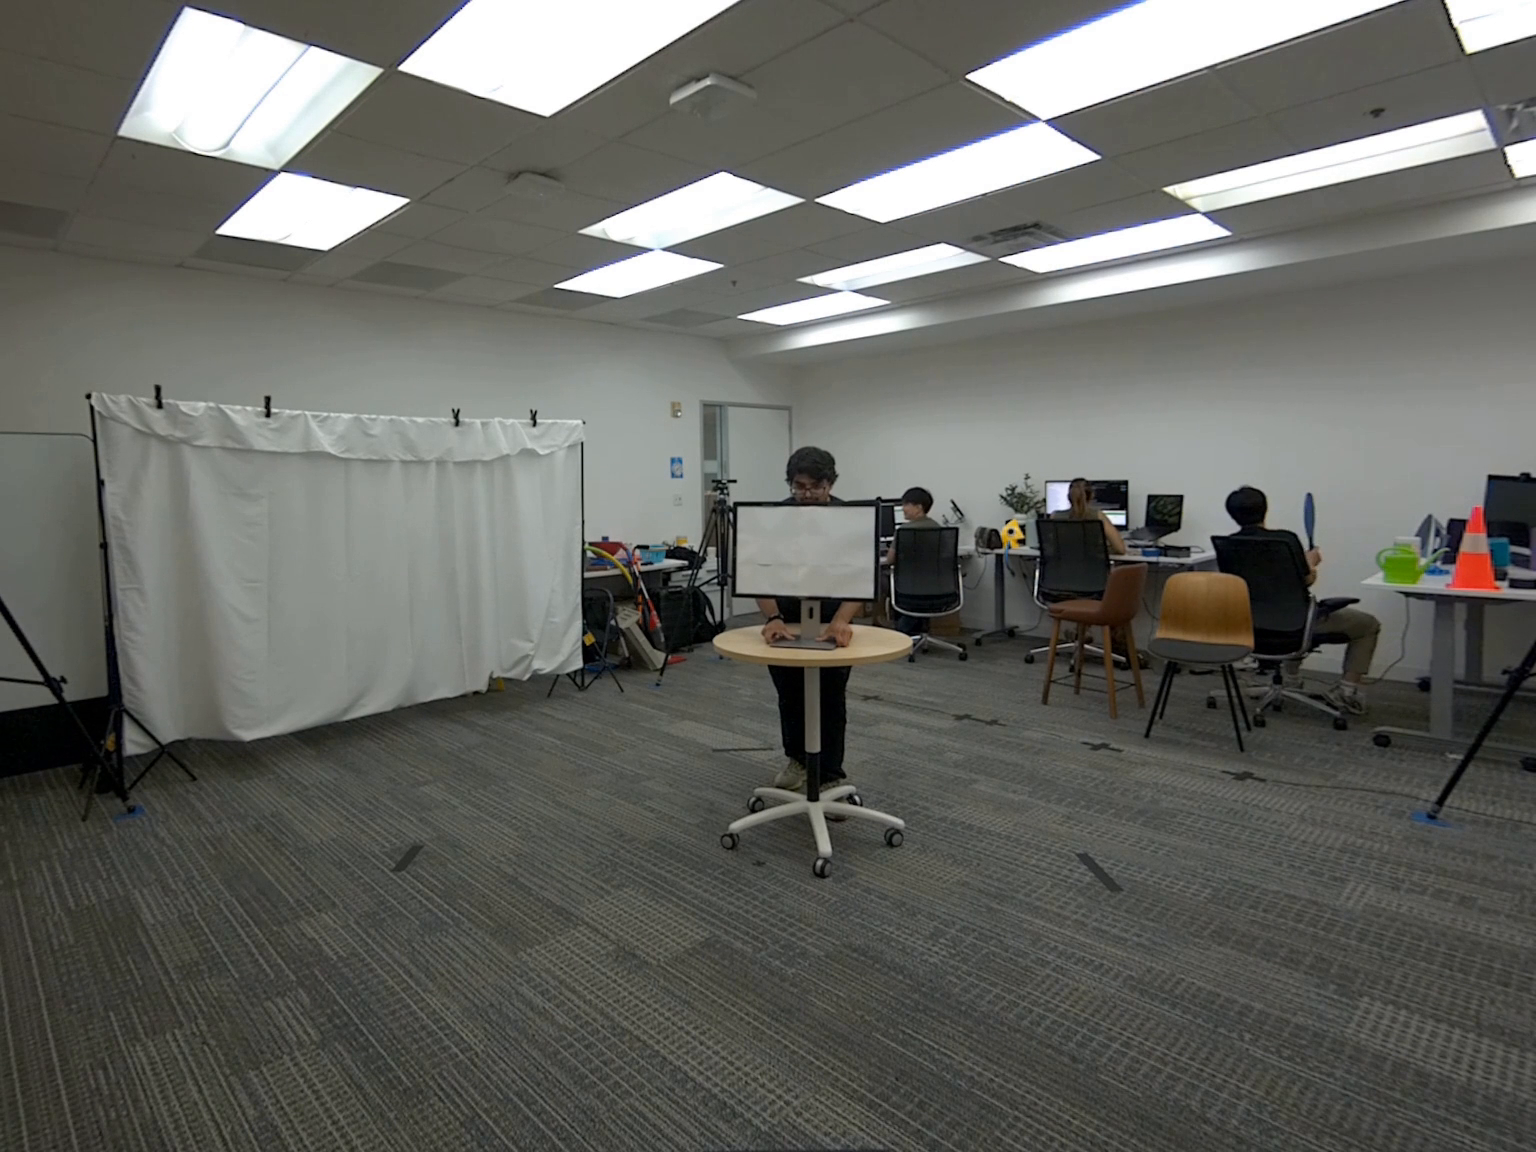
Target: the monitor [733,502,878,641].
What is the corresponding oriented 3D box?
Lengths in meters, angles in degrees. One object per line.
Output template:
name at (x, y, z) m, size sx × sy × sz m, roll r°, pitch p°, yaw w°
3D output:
monitor at (0.154, -0.009, 3.215) m, size 0.576 × 0.552 × 0.207 m, roll 1°, pitch 3°, yaw 20°
